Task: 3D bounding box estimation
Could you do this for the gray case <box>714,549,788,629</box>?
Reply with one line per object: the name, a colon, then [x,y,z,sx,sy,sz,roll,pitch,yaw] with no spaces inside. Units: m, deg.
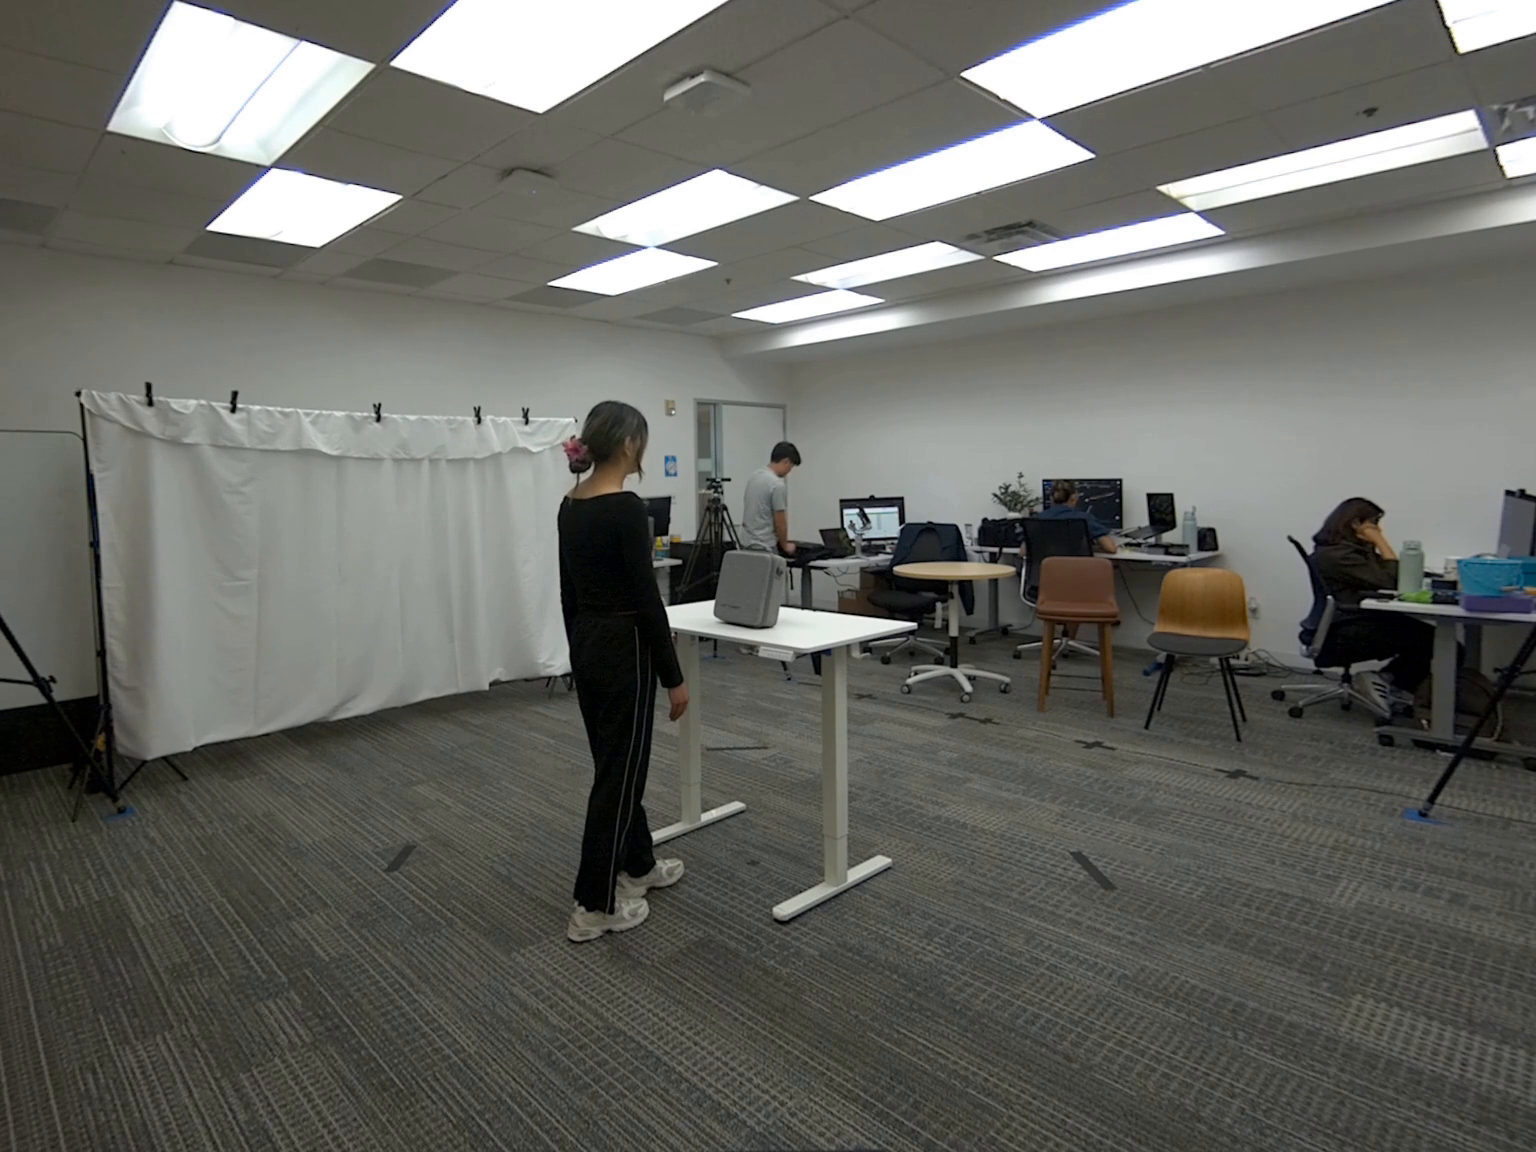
gray case: [-0.063,0.041,2.998,0.101,0.261,0.265,13,-5,-39]
